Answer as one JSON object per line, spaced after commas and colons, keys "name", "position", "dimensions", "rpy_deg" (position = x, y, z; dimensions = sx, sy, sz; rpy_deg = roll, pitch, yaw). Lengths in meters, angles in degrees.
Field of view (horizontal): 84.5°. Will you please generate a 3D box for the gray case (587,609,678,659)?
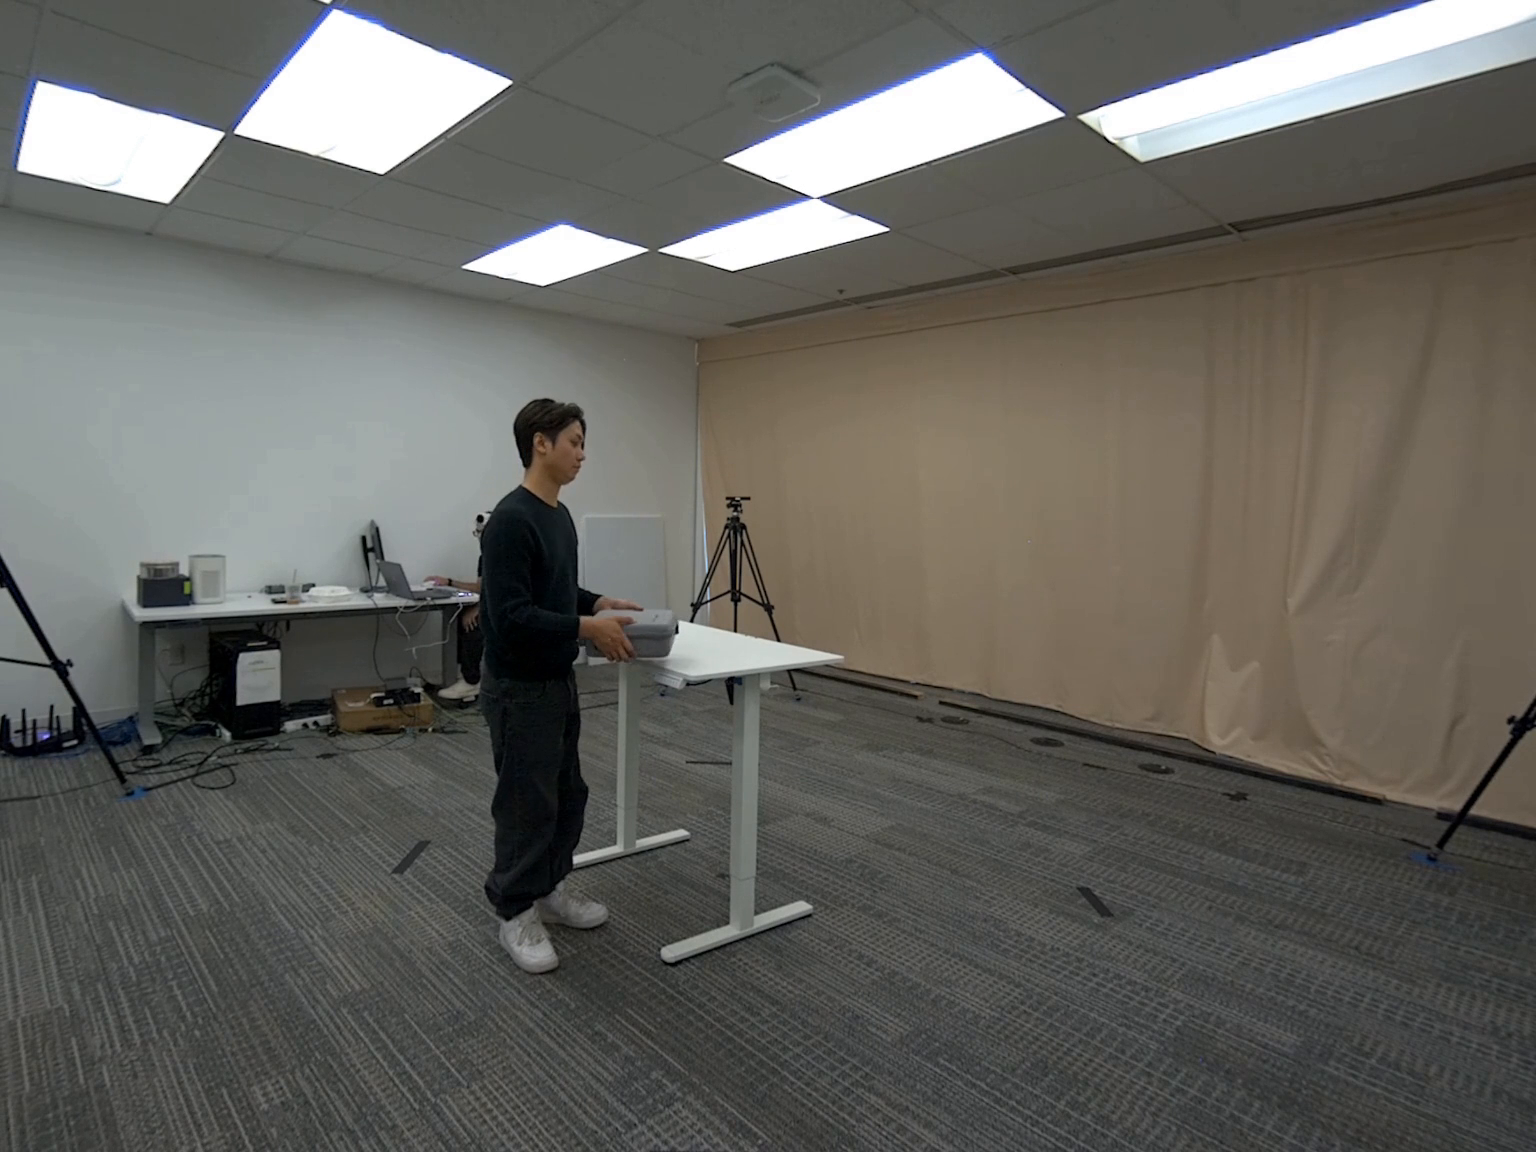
{"name": "gray case", "position": [-0.422, 0.173, 2.524], "dimensions": [0.261, 0.104, 0.258], "rpy_deg": [0, 8, 1]}
